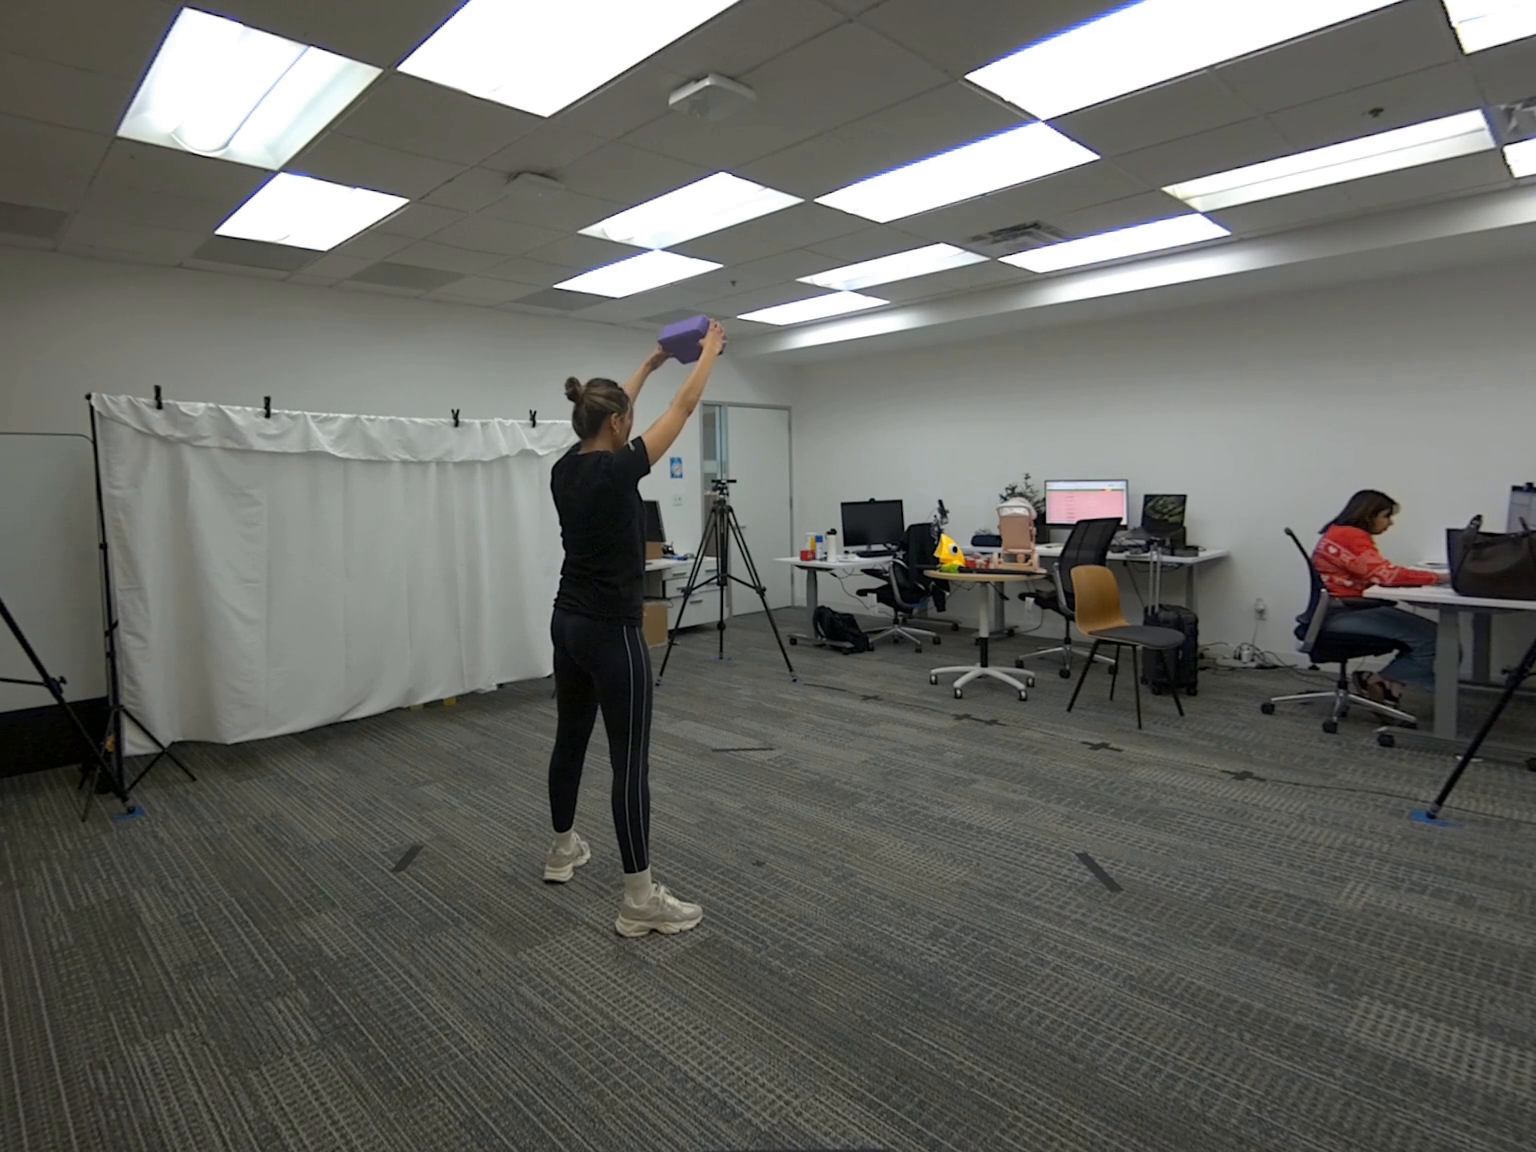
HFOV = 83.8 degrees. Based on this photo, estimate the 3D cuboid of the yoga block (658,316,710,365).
[{"bbox_3d":[-0.281,-0.852,3.088,0.143,0.077,0.236,34,-21,-36],"label":"yoga block"}]
